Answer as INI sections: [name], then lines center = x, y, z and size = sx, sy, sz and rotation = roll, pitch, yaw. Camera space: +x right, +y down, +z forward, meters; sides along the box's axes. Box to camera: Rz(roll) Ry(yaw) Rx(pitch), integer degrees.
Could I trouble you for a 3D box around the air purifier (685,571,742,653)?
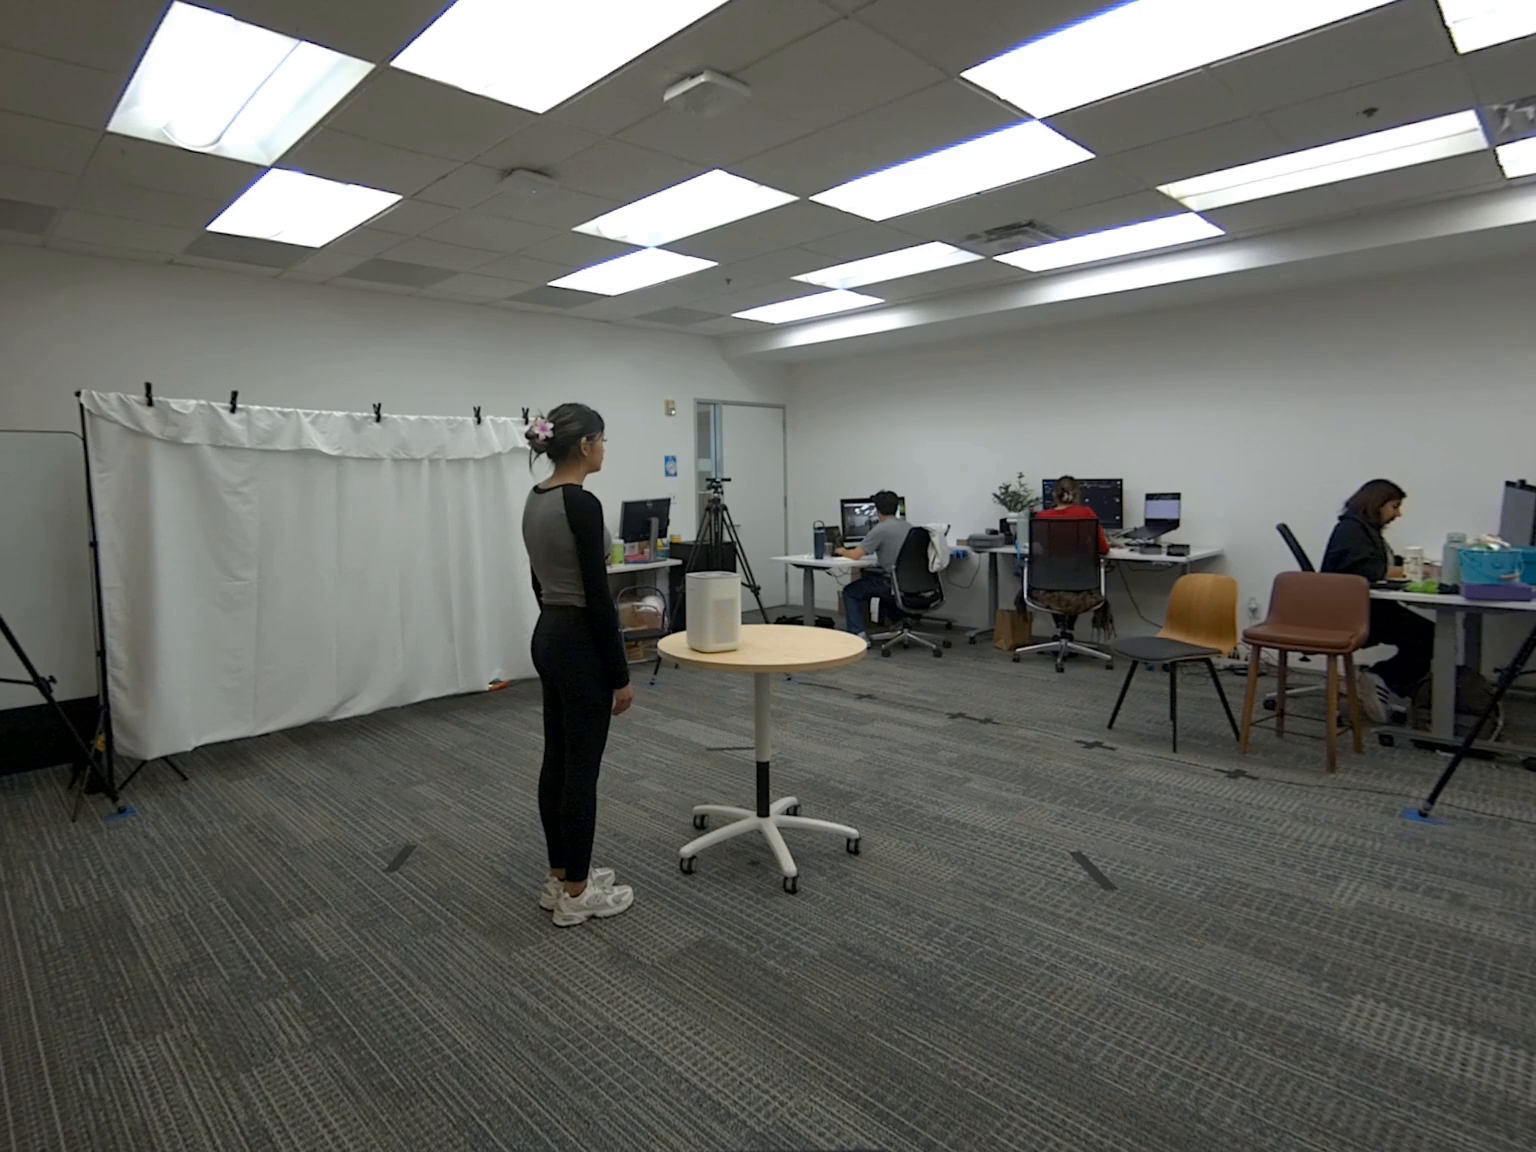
[air purifier]
center = -0.188, 0.122, 3.019
size = 0.167, 0.264, 0.176
rotation = -3, 7, -29
